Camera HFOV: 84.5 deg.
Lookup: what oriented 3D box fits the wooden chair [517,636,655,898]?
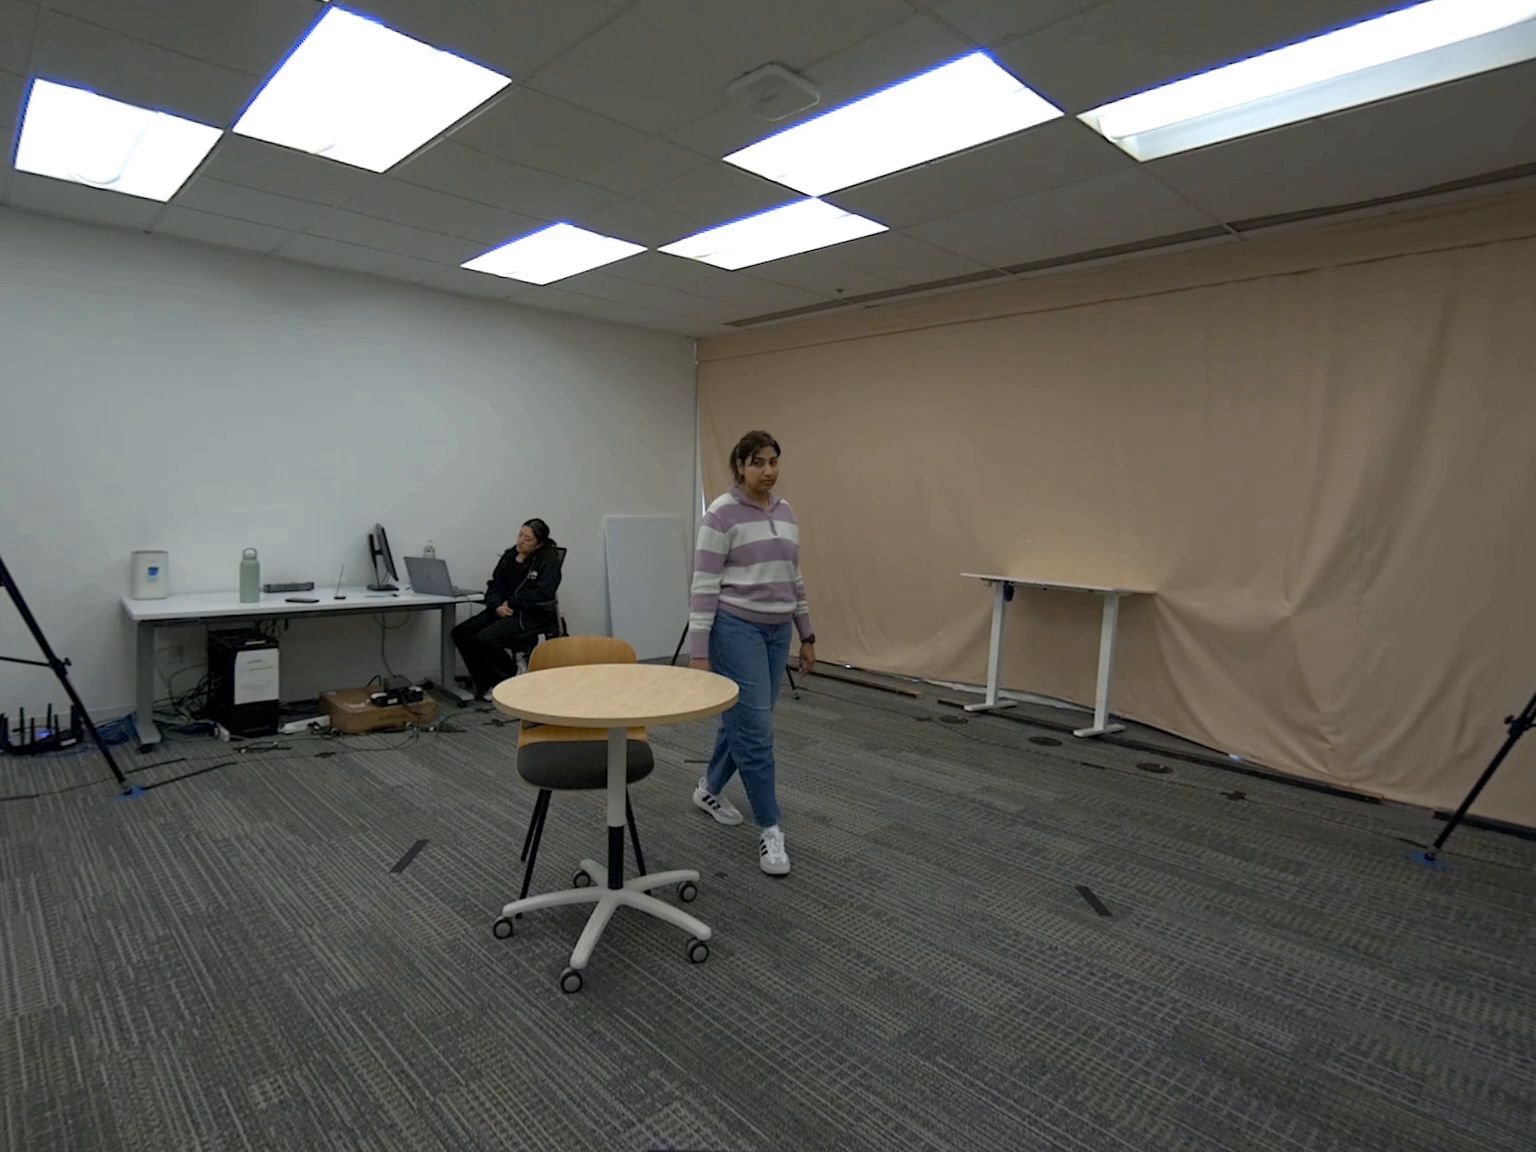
[{"bbox_3d":[-0.650,0.678,2.972,0.473,0.878,0.529,1,-1,-15],"label":"wooden chair"}]
